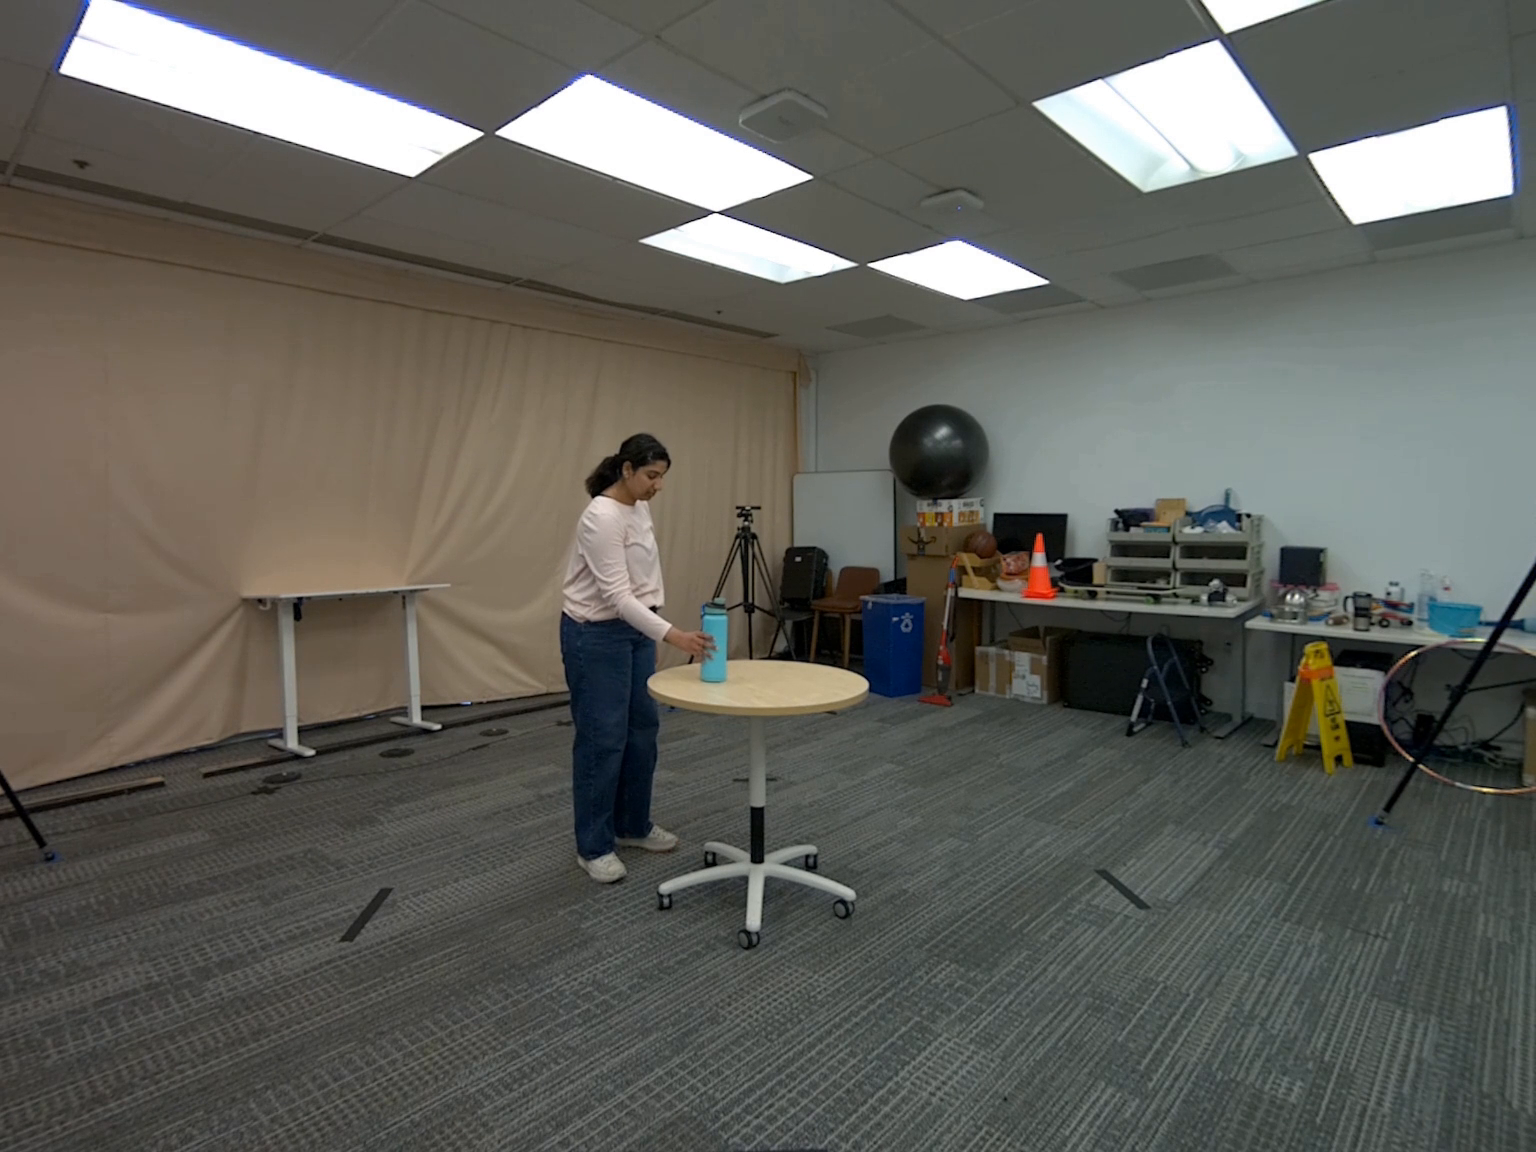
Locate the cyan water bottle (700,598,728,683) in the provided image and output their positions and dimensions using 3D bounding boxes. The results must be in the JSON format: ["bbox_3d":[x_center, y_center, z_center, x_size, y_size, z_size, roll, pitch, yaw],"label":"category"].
[{"bbox_3d":[-0.185,0.225,2.940,0.092,0.283,0.092,1,2,-2],"label":"cyan water bottle"}]
